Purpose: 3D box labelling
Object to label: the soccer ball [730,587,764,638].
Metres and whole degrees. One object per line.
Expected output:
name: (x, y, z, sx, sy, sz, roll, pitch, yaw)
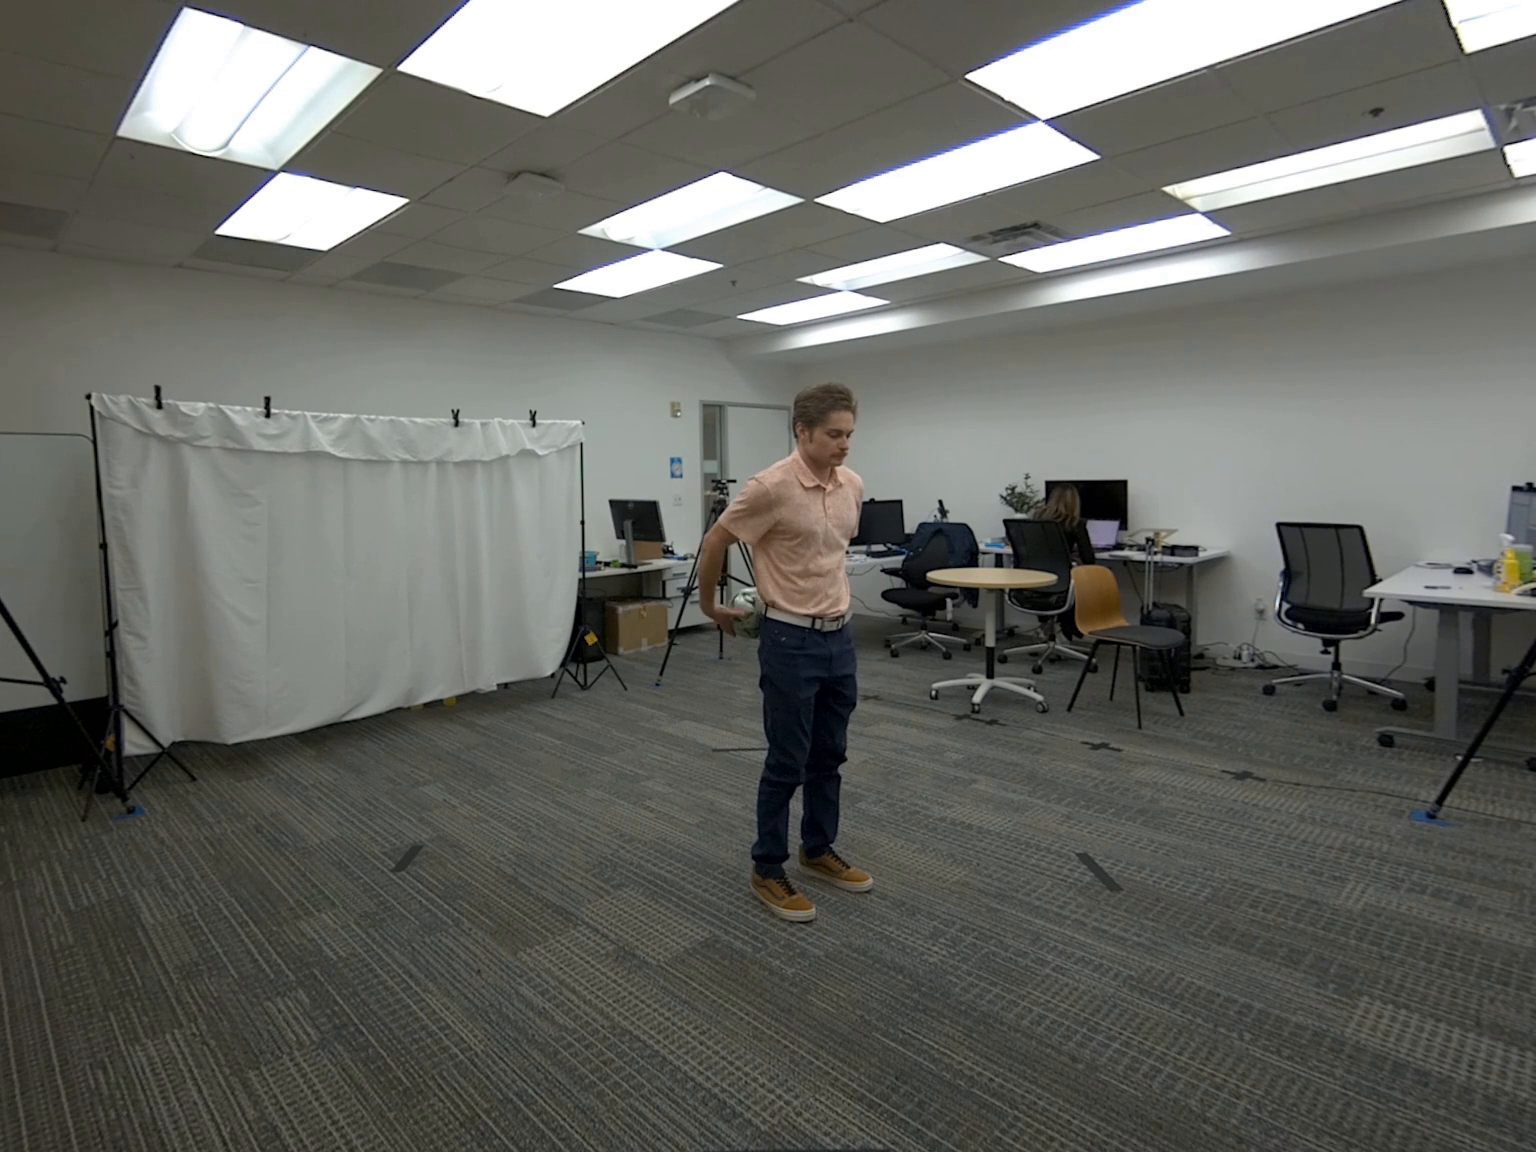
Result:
soccer ball: (-0.038, 0.133, 3.052, 0.187, 0.187, 0.188, -1, 5, -2)
